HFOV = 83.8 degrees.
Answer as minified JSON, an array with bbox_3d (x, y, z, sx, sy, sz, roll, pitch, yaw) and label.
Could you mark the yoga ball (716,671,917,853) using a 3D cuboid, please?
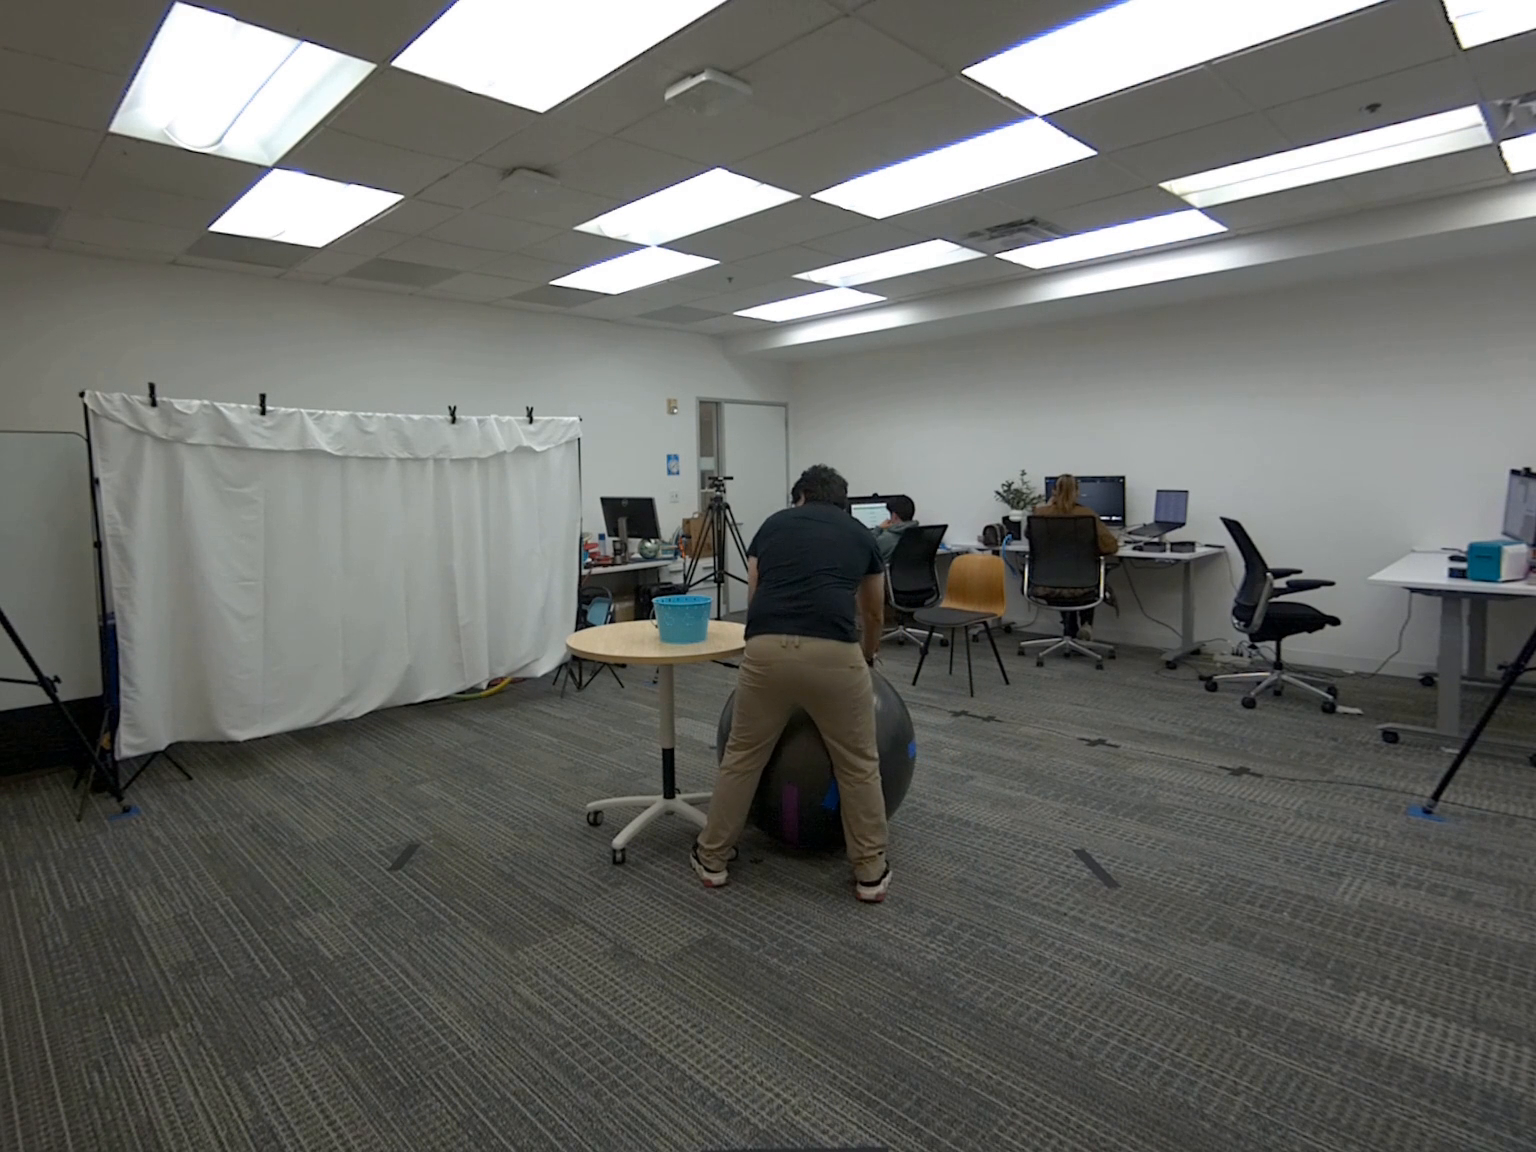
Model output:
[{"bbox_3d":[0.190,0.666,3.317,0.757,0.755,0.762,-1,5,-2],"label":"yoga ball"}]
